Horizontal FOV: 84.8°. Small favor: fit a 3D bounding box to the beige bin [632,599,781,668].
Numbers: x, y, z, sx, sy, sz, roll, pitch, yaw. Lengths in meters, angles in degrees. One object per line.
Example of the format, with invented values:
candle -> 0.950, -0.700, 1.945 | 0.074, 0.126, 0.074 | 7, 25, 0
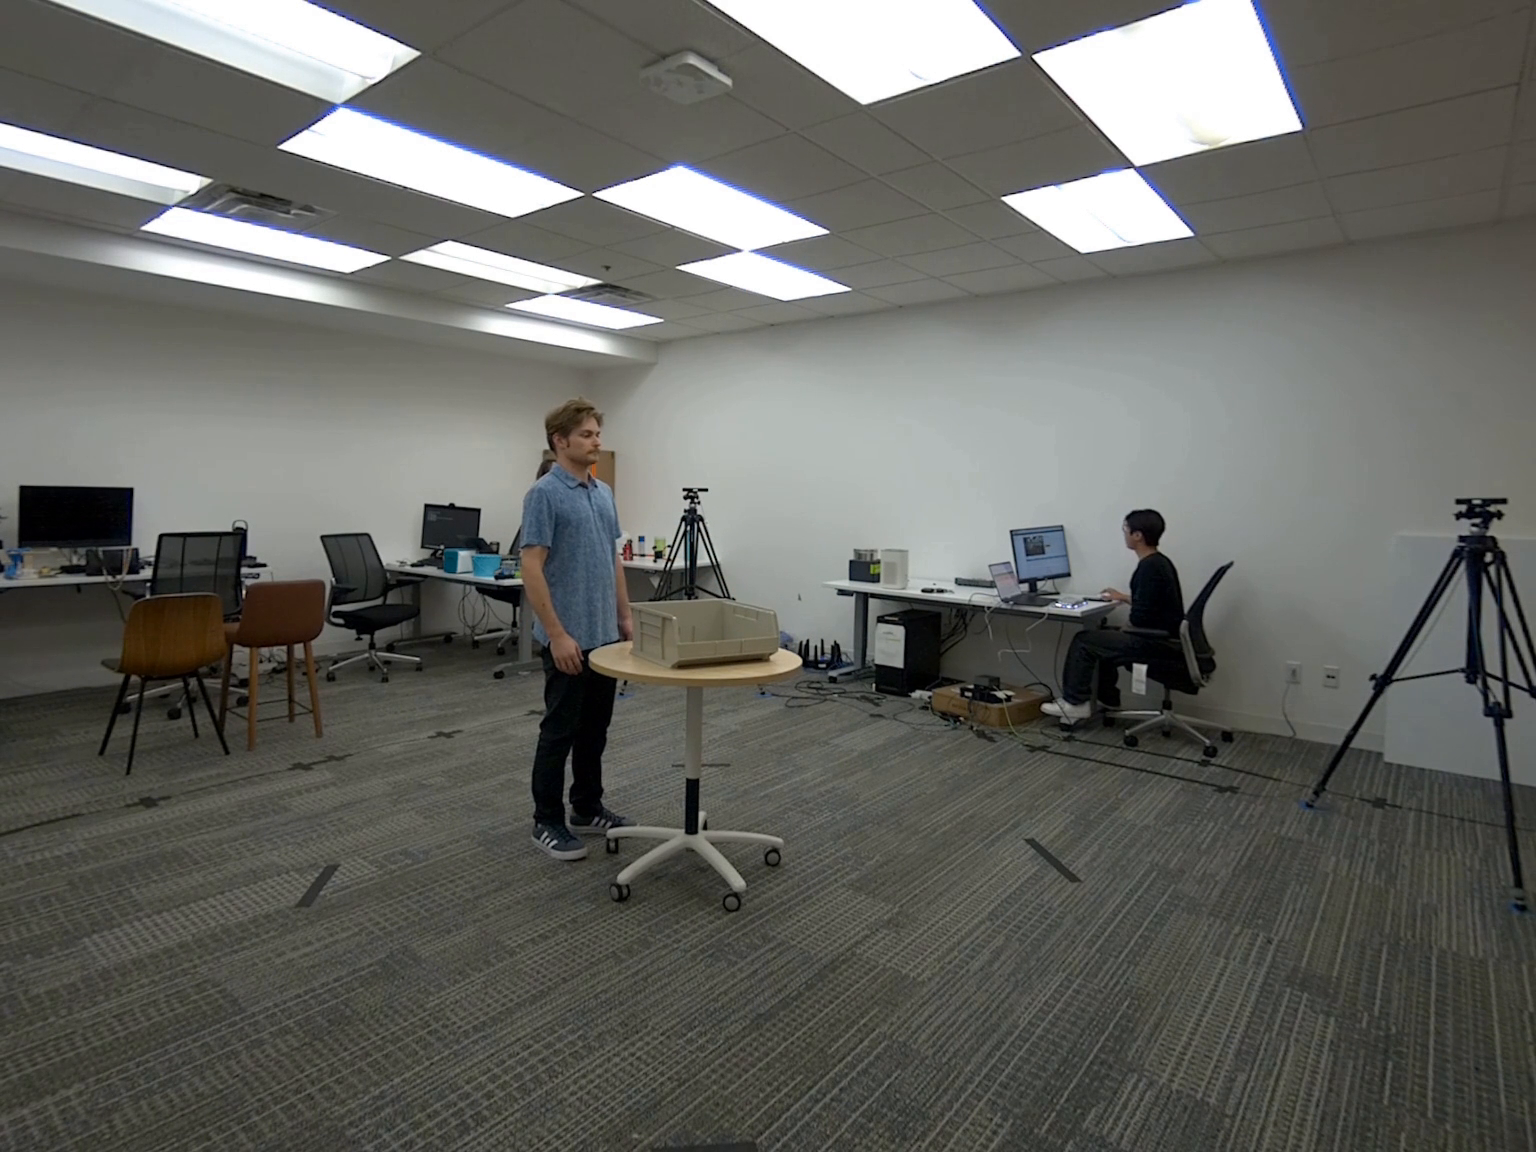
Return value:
beige bin -> -0.248, 0.197, 3.060 | 0.410, 0.188, 0.389 | -2, 5, -33
